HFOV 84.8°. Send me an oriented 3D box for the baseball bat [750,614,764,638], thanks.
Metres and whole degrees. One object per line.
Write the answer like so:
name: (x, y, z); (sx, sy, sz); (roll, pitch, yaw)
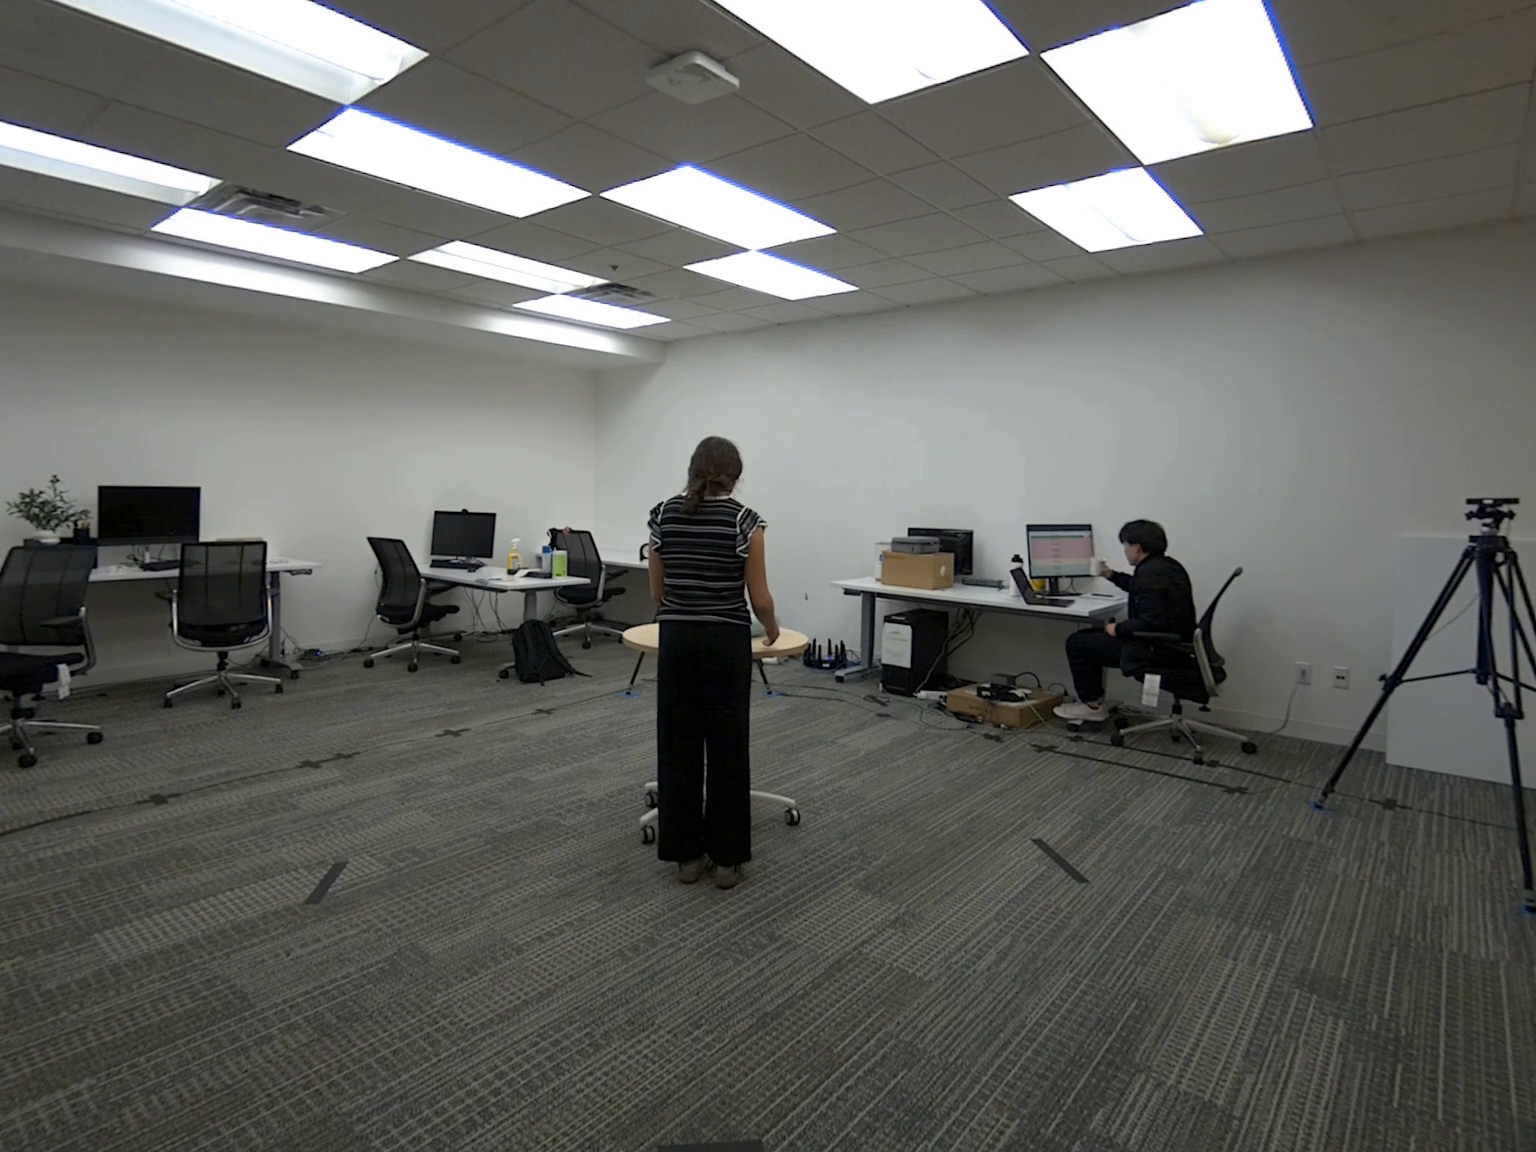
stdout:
baseball bat: (-0.148, 0.216, 3.415); (0.092, 0.088, 0.528); (4, 9, 40)
